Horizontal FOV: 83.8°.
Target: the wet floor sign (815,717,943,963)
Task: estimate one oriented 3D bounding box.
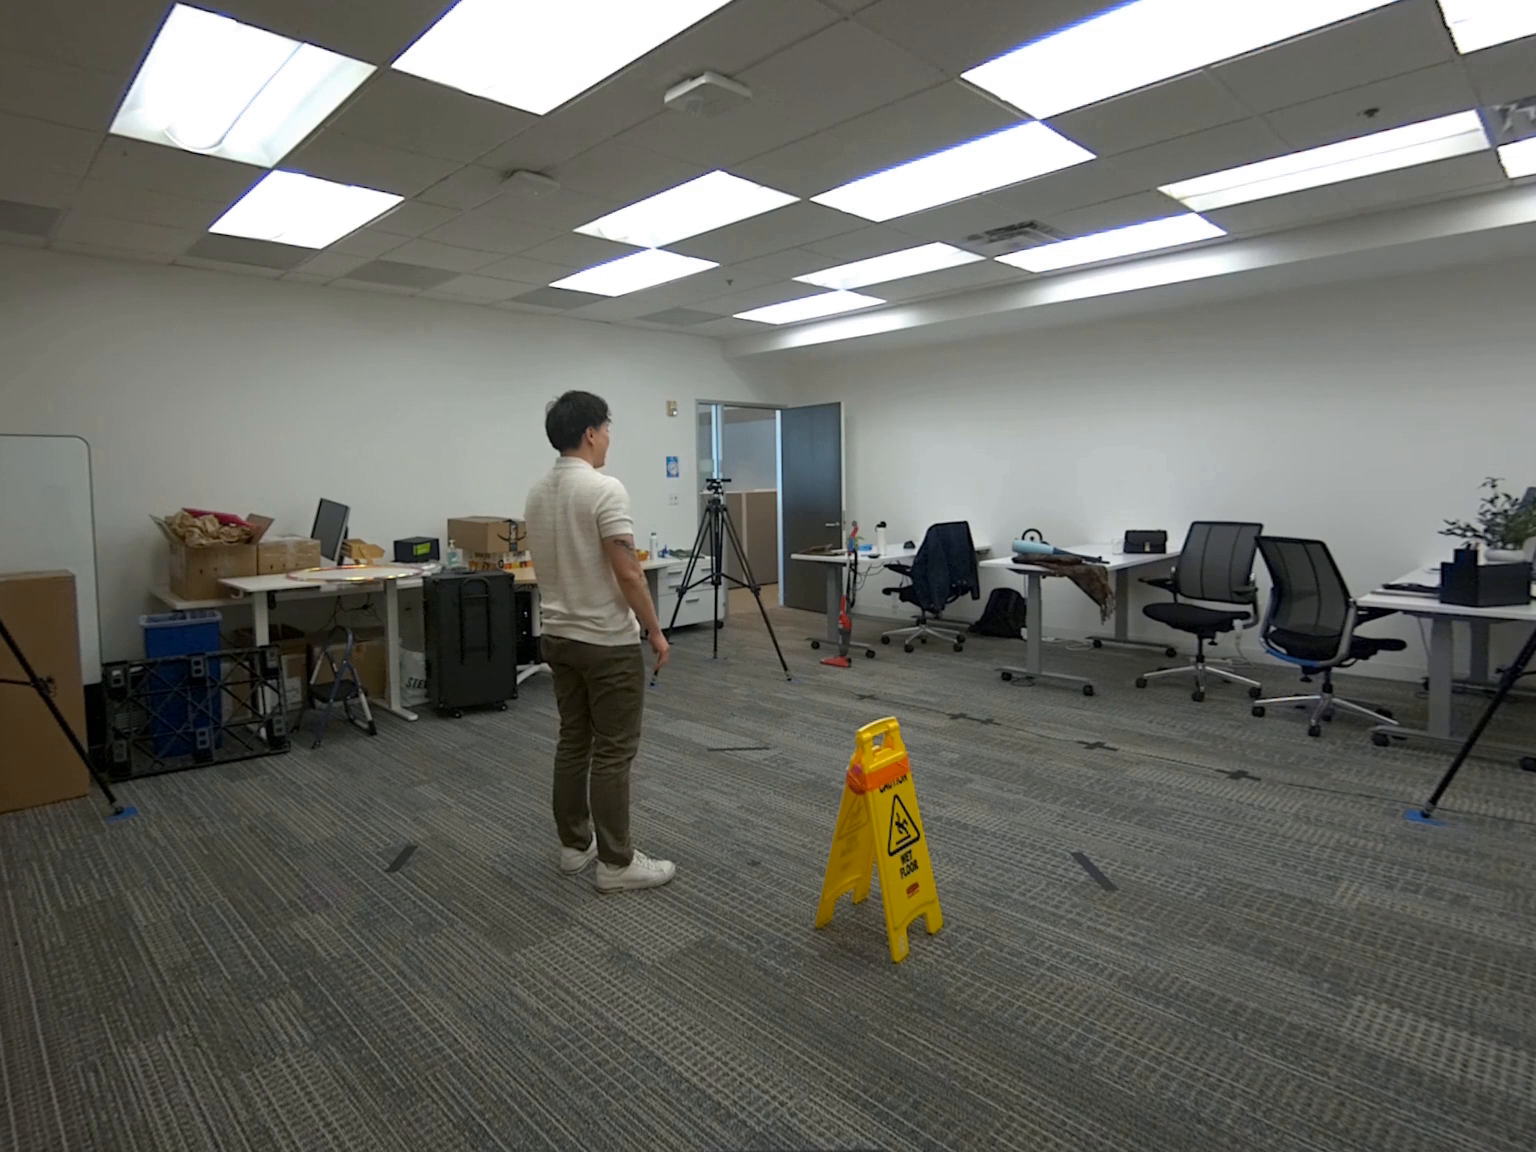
[{"bbox_3d":[0.345,0.769,2.626,0.299,0.643,0.275,4,7,42],"label":"wet floor sign"}]
